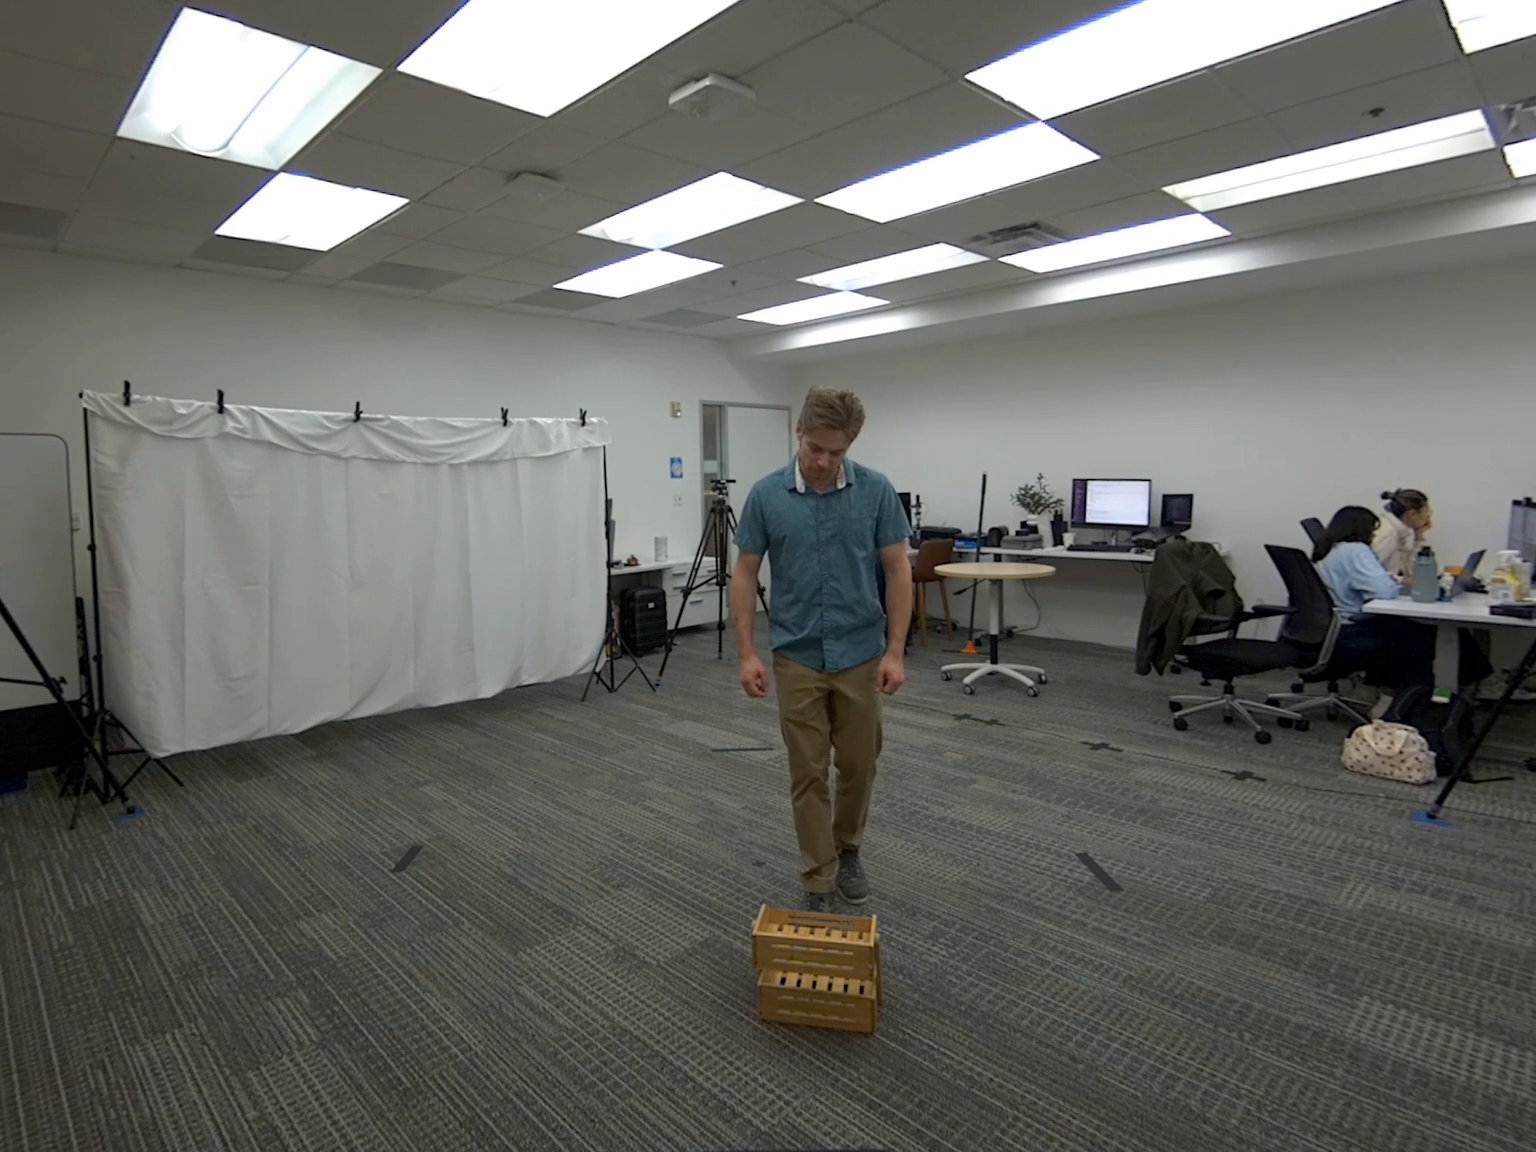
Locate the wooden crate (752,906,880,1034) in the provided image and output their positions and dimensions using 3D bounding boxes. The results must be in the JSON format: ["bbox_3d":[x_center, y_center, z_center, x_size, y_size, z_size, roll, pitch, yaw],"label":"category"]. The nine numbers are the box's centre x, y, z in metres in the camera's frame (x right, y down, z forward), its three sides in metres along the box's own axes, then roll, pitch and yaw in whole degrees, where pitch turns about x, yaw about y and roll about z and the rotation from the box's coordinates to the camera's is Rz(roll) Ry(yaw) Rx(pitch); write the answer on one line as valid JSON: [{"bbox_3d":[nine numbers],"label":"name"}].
[{"bbox_3d":[0.143,1.004,2.276,0.328,0.271,0.300,0,7,11],"label":"wooden crate"}]
